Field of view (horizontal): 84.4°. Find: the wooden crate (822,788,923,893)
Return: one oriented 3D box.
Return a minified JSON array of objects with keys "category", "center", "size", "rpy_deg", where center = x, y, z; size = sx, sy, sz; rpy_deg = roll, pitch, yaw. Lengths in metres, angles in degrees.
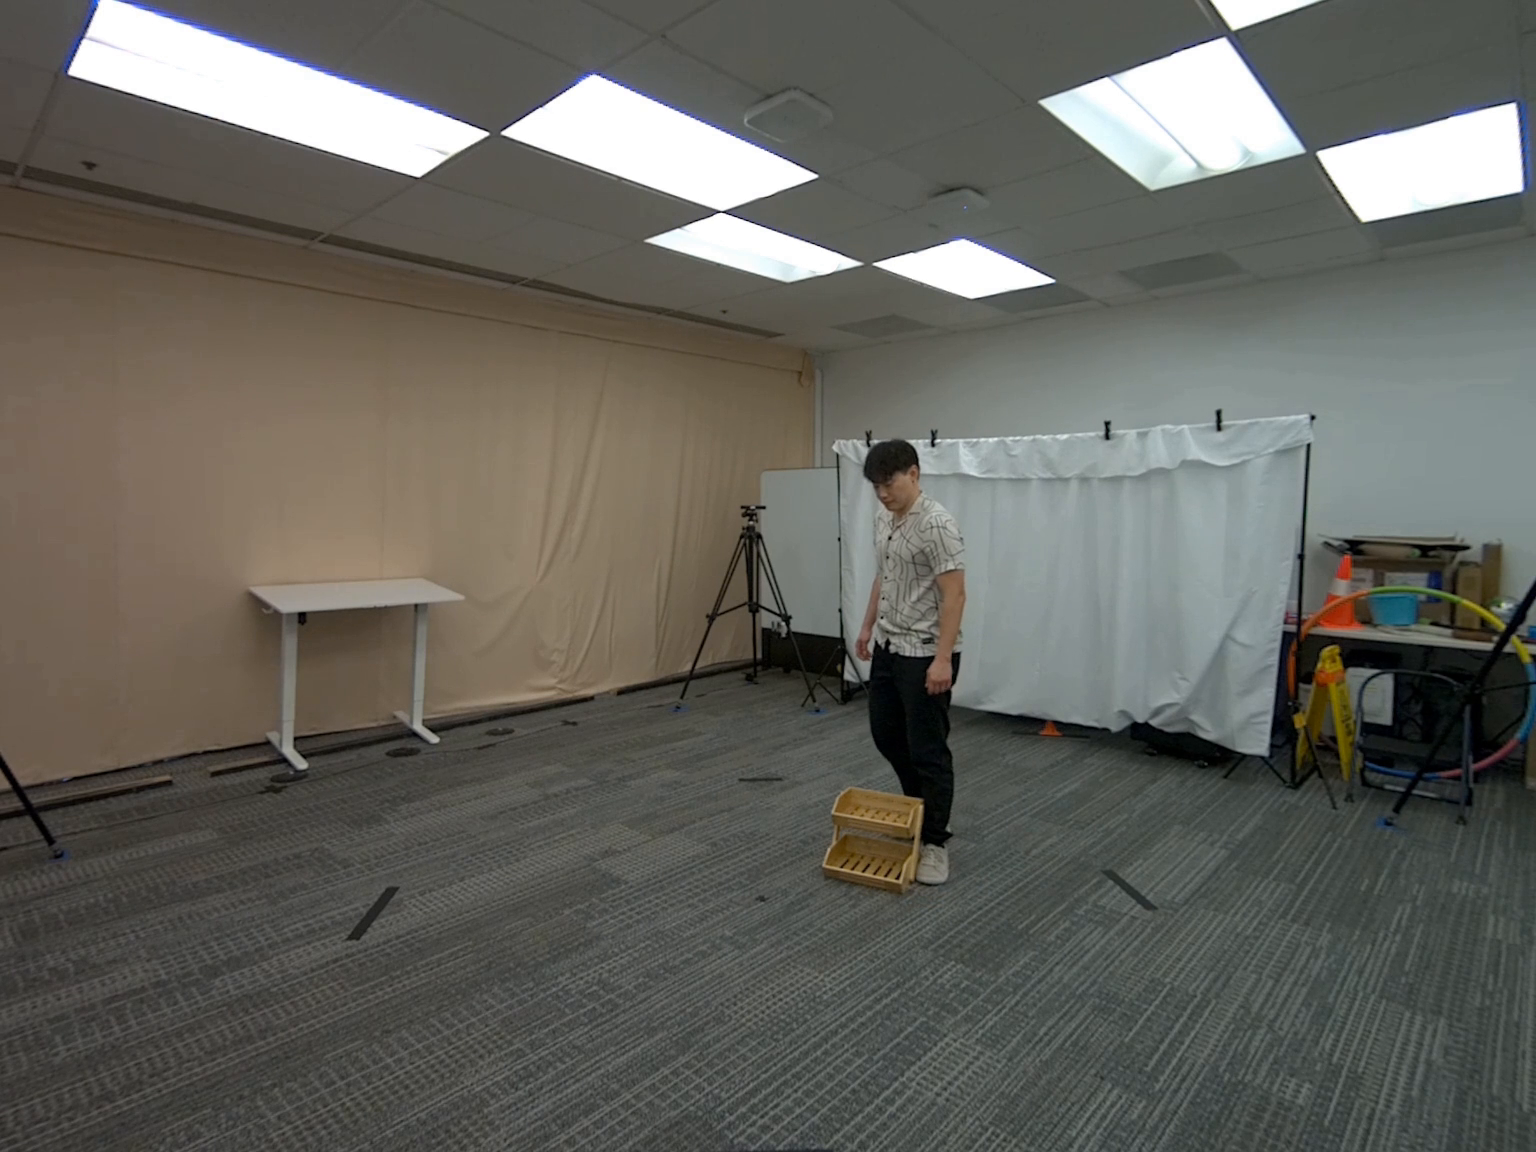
[{"category":"wooden crate","center":[0.407,0.990,3.189],"size":[0.333,0.273,0.294],"rpy_deg":[3,3,26]}]
